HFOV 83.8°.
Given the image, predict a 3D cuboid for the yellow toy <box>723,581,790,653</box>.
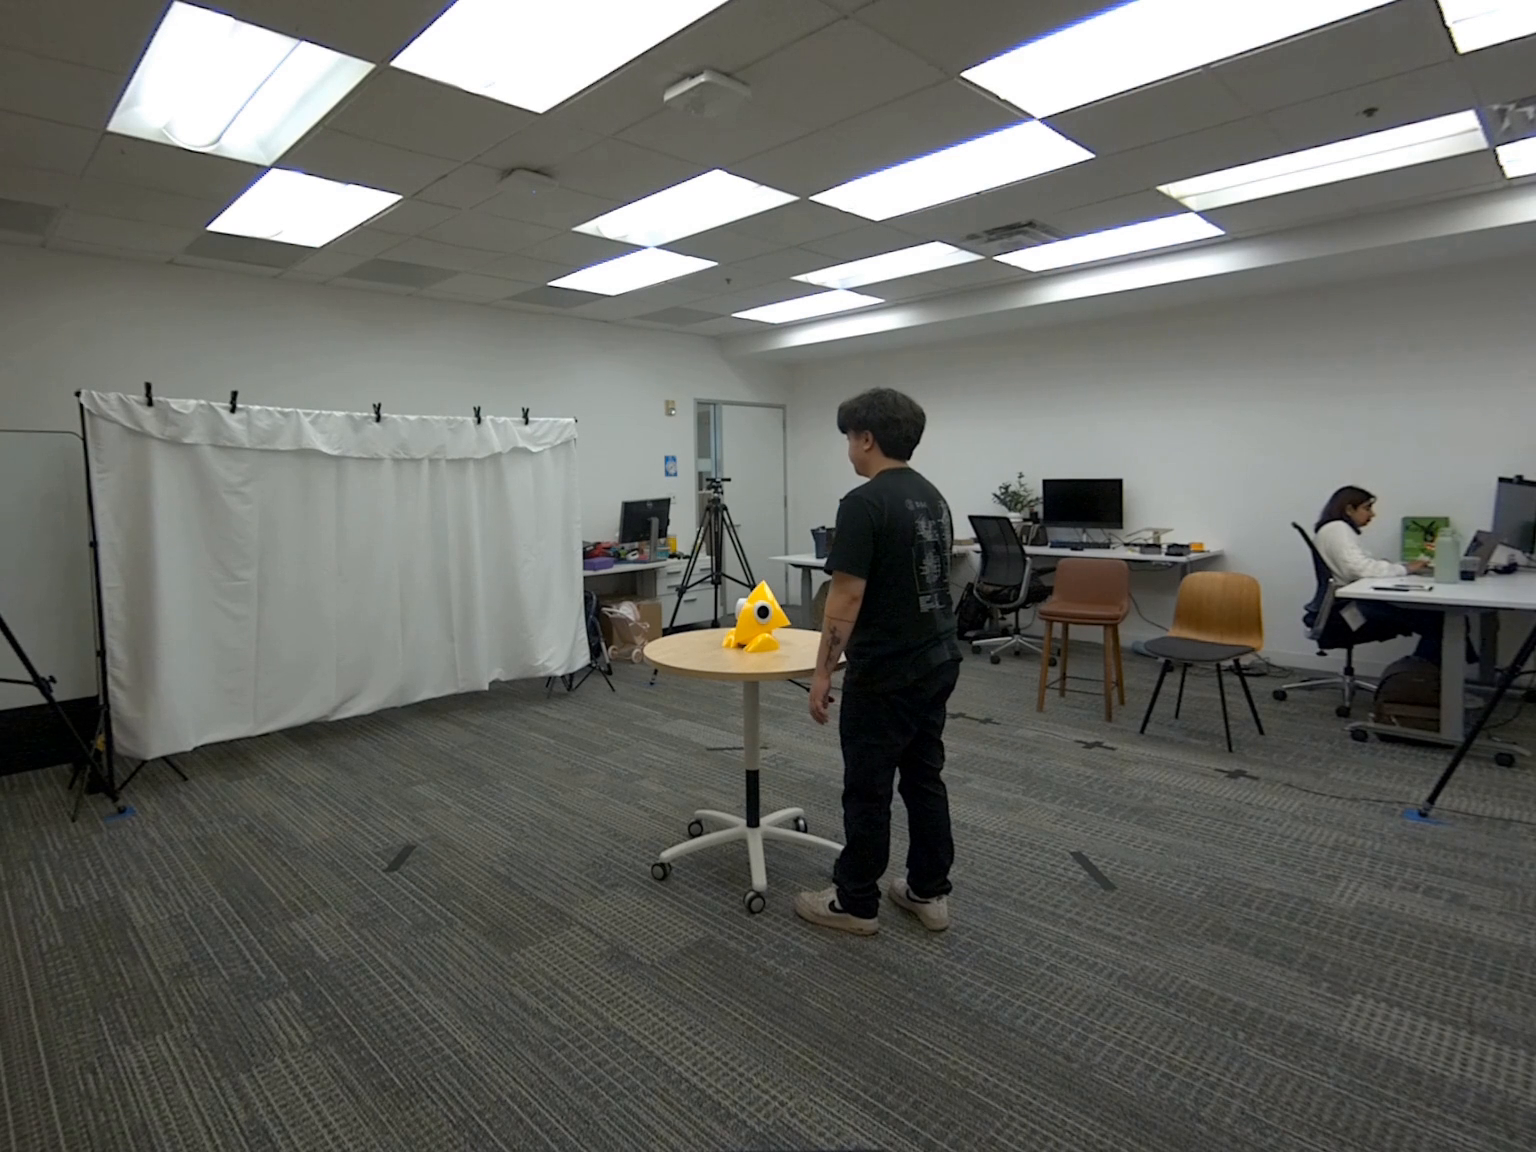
[{"bbox_3d":[-0.054,0.140,3.063,0.211,0.229,0.188,5,8,44],"label":"yellow toy"}]
